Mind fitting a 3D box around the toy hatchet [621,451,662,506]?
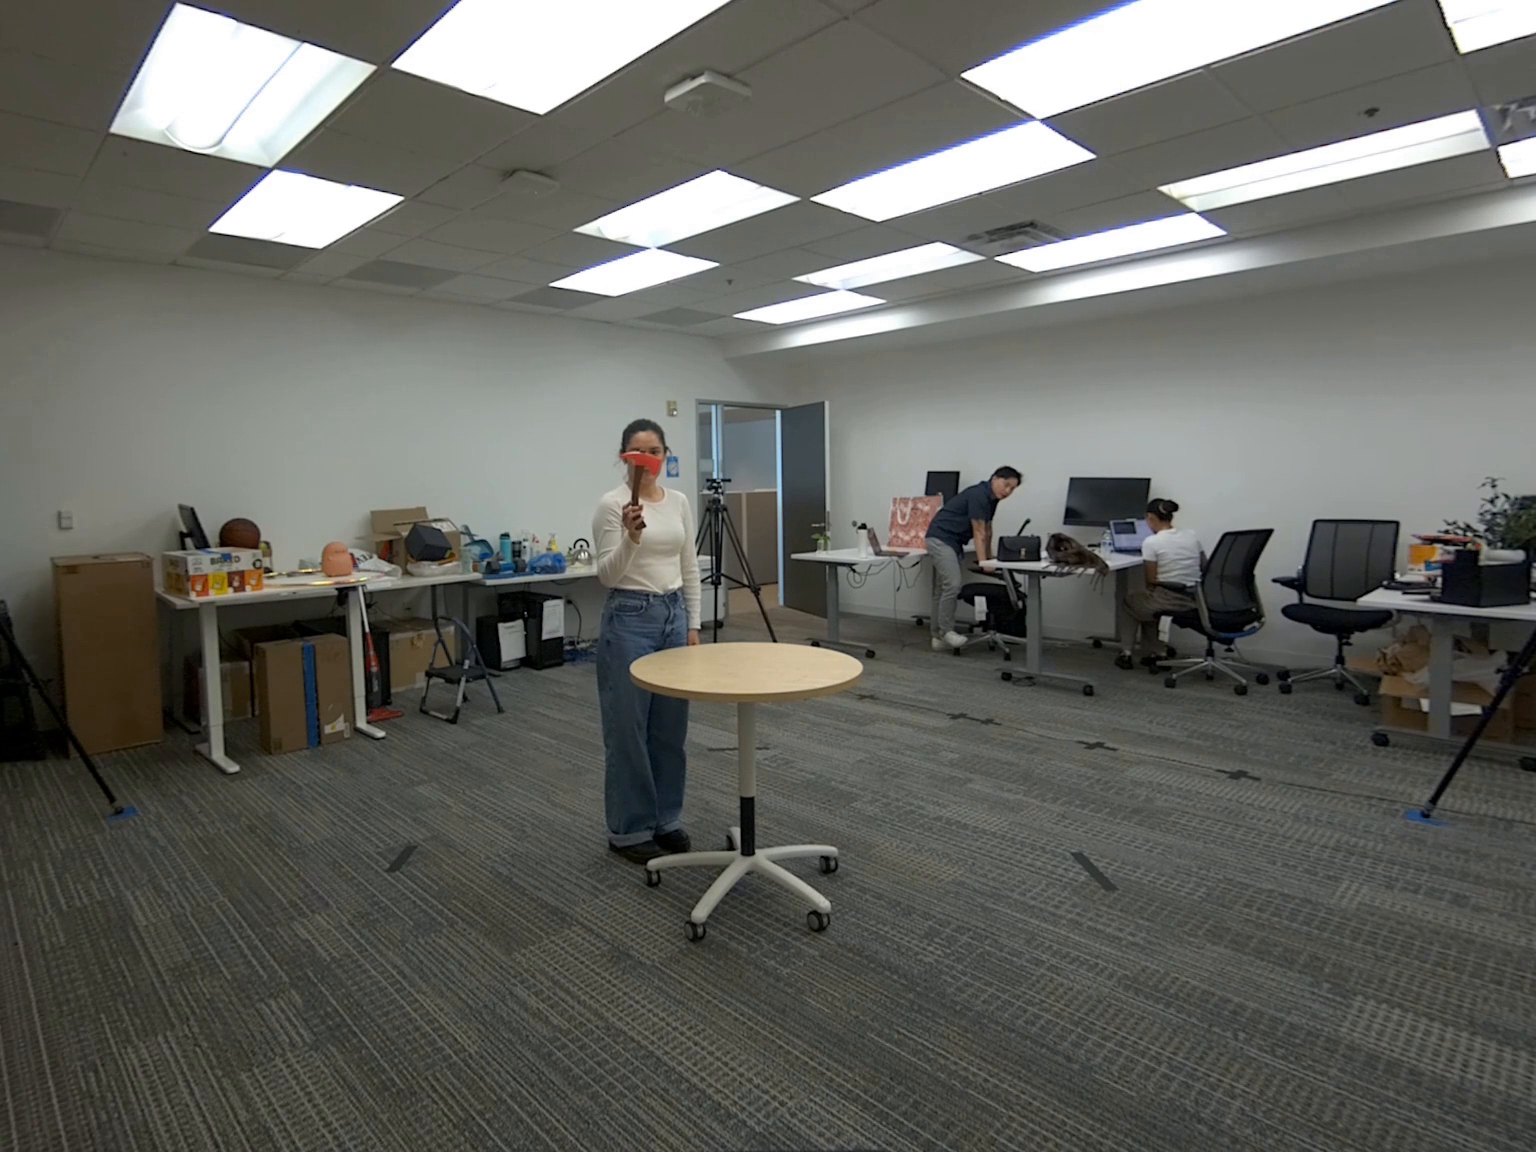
[{"bbox_3d":[-0.420,-0.298,2.886,0.129,0.265,0.030,-14,18,-17],"label":"toy hatchet"}]
